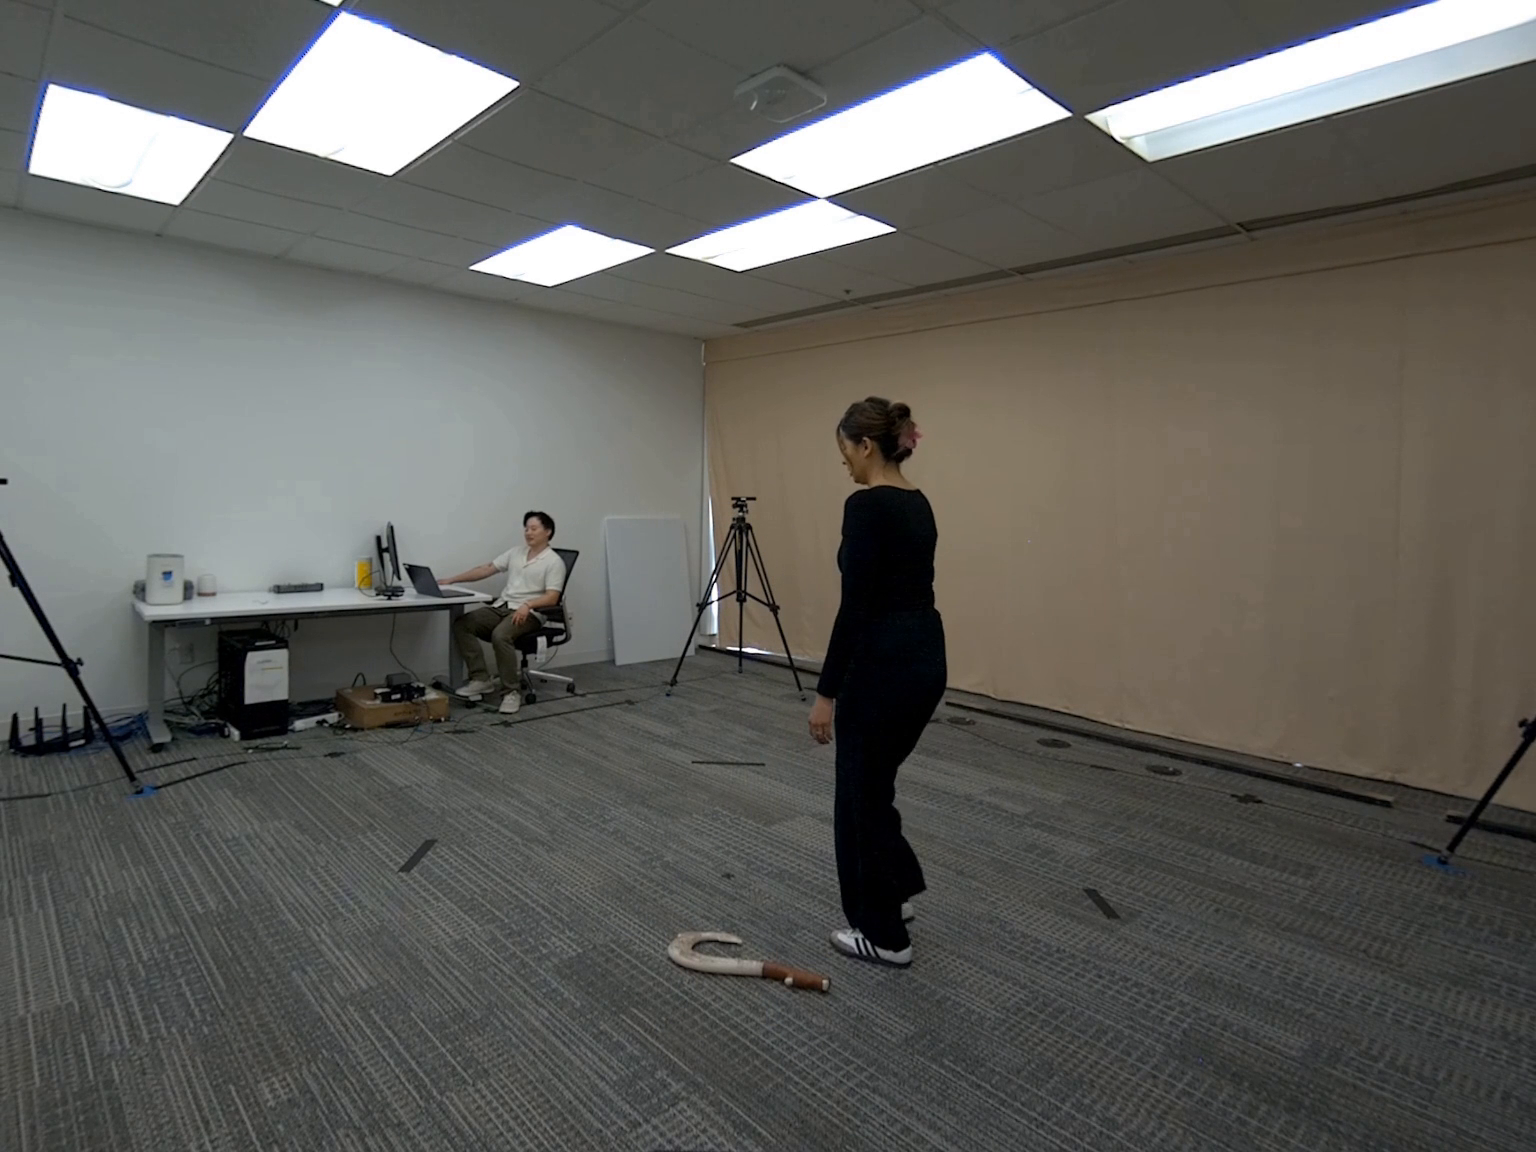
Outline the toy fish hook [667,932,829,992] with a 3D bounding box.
[{"bbox_3d":[-0.055,1.139,2.513,0.514,0.048,0.222,4,7,19],"label":"toy fish hook"}]
